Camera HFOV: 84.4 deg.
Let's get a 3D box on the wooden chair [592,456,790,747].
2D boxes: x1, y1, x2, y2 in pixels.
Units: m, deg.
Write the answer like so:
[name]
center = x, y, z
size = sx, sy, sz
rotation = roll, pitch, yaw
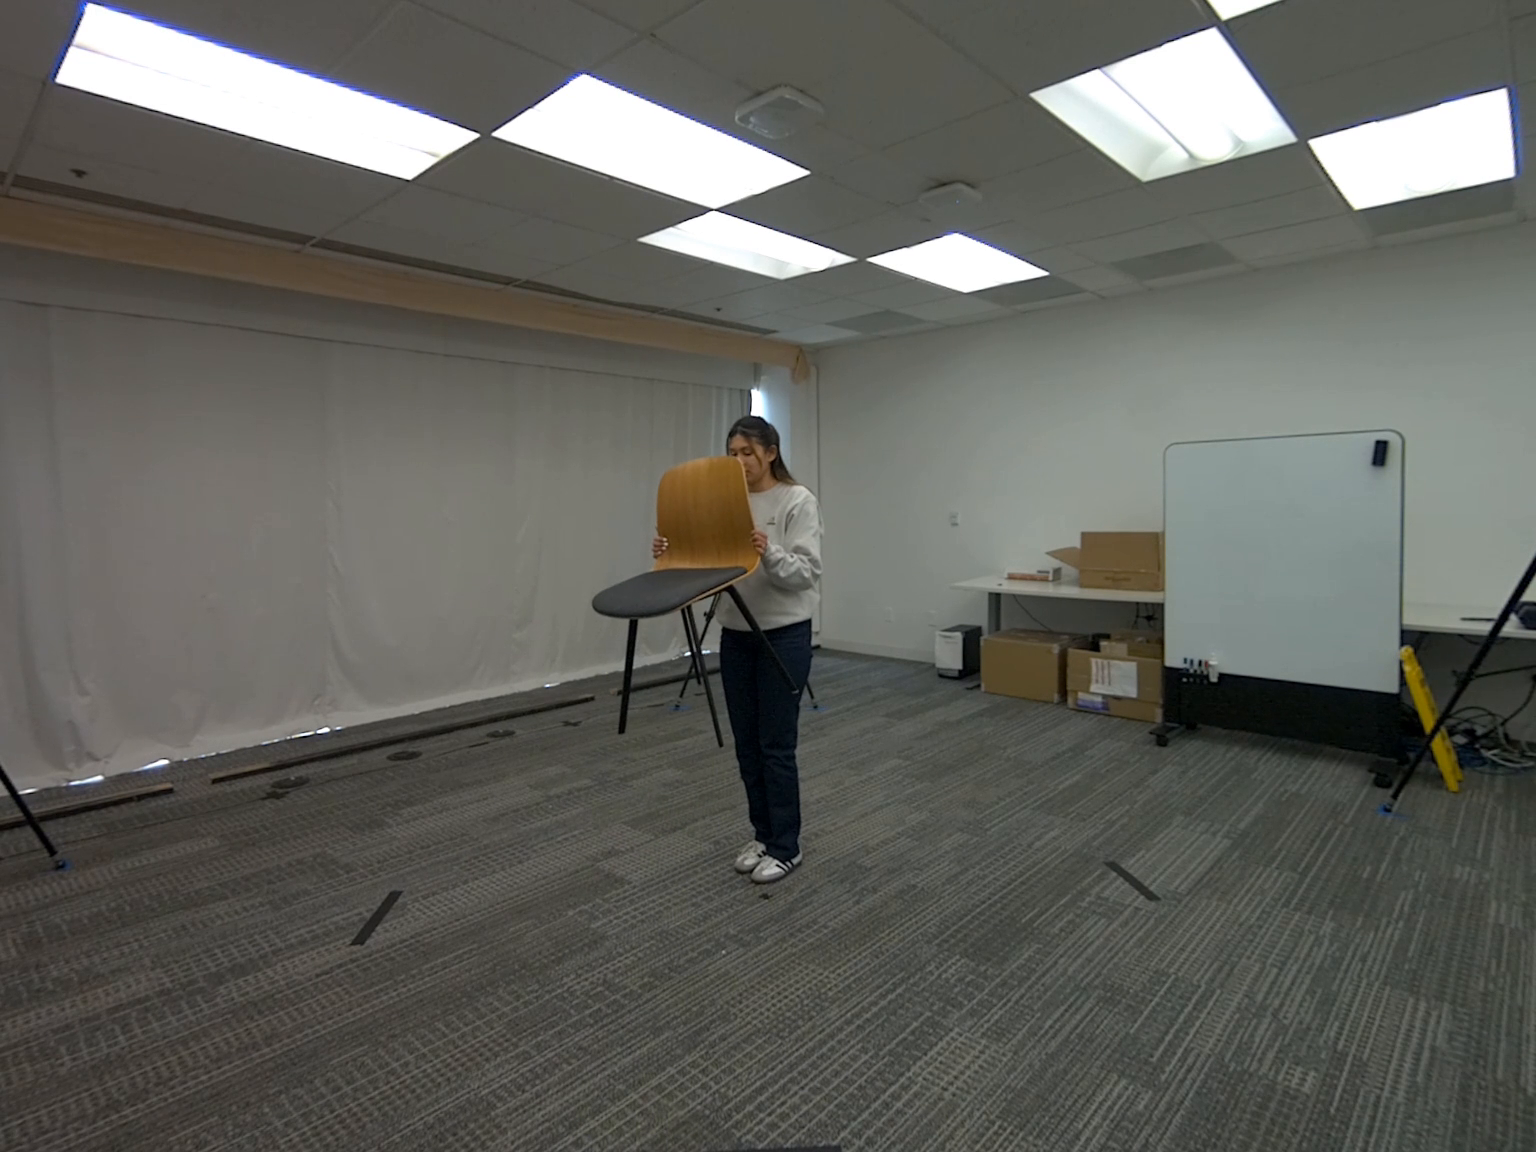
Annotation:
[wooden chair]
center = -0.279, 0.071, 2.812
size = 0.493, 0.872, 0.510
rotation = -2, 10, 37
